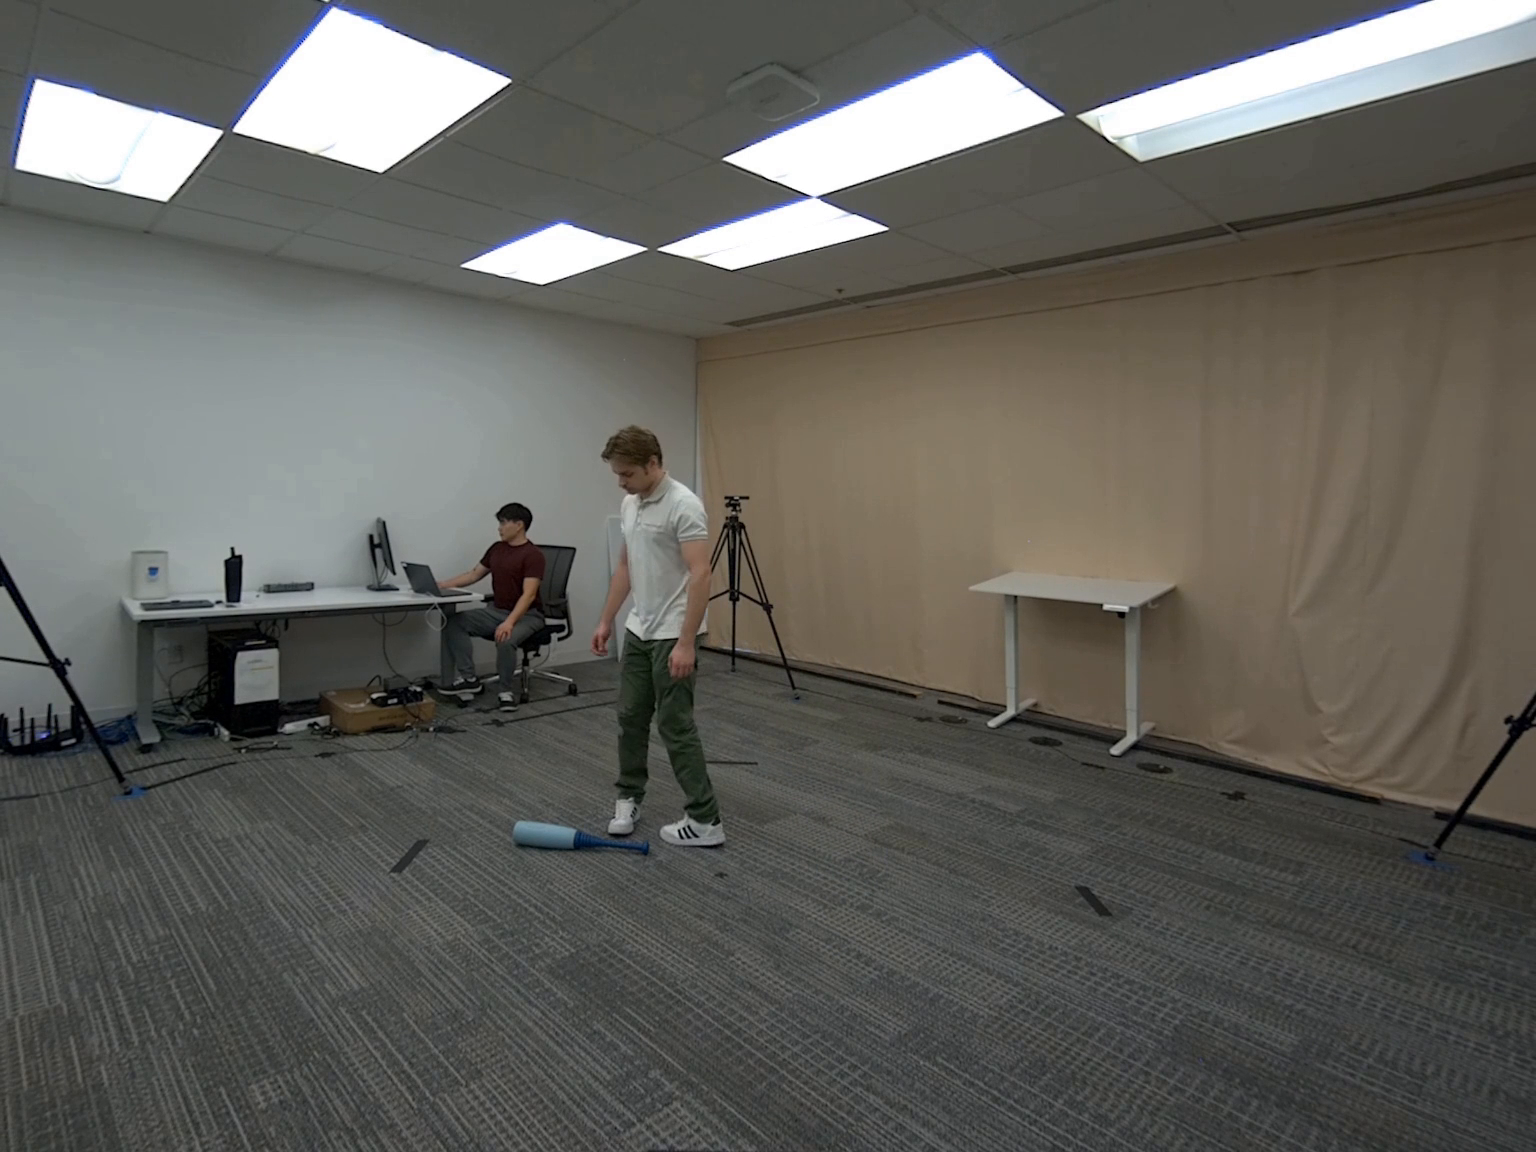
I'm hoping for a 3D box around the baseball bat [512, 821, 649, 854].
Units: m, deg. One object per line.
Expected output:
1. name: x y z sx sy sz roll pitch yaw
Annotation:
1. baseball bat: -0.738 1.038 3.296 0.546 0.089 0.089 5 5 7
